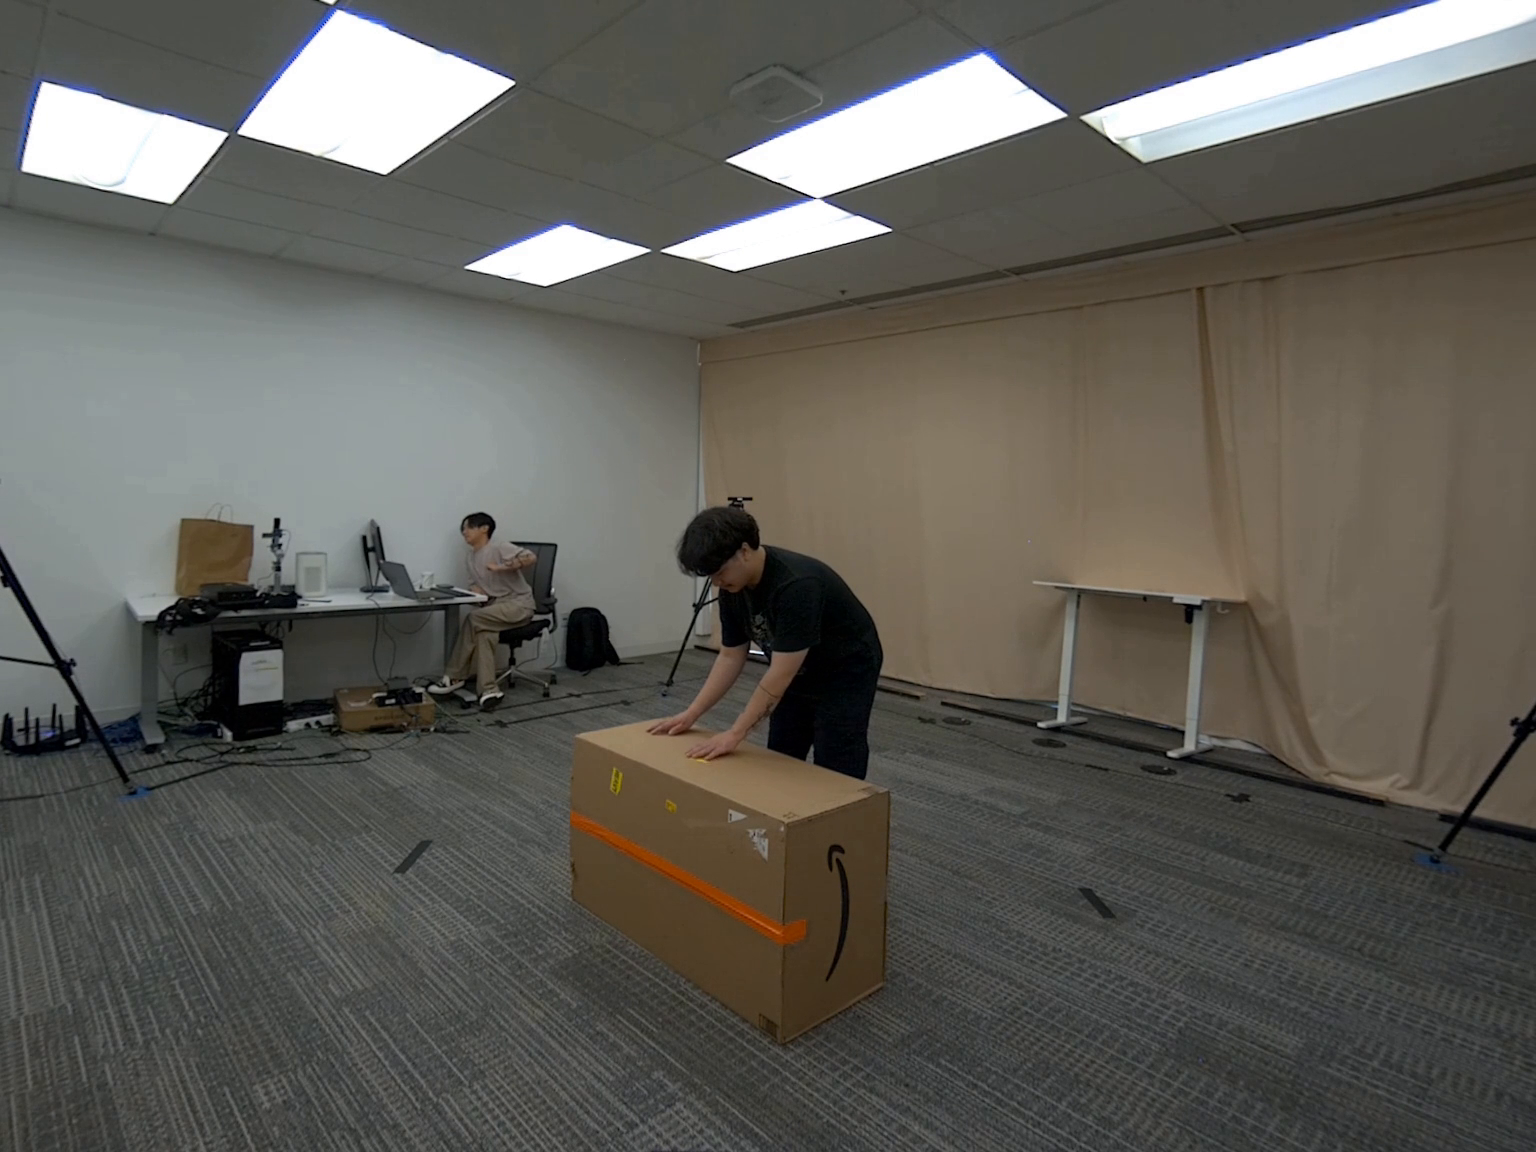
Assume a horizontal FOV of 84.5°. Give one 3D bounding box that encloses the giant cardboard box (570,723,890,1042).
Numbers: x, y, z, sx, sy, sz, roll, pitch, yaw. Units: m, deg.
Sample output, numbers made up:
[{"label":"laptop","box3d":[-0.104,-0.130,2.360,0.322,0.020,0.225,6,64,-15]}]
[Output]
[{"label":"giant cardboard box","box3d":[-0.173,0.865,2.641,0.437,0.582,1.053,-3,6,-43]}]
